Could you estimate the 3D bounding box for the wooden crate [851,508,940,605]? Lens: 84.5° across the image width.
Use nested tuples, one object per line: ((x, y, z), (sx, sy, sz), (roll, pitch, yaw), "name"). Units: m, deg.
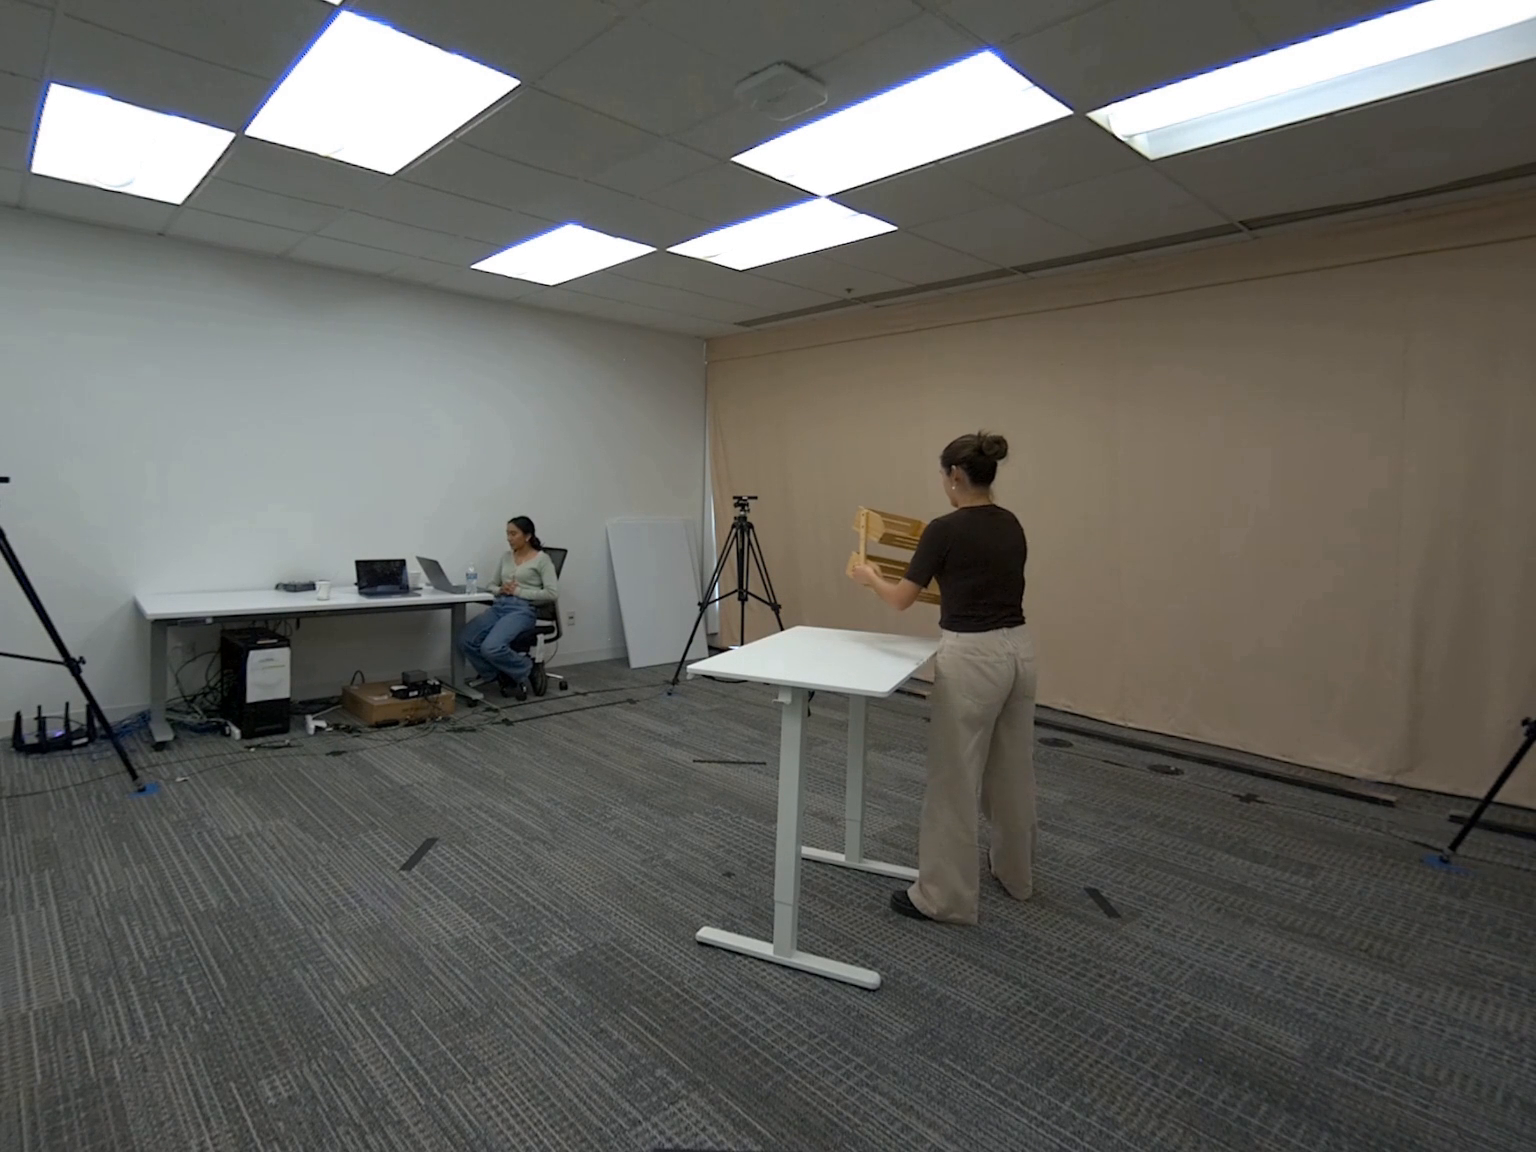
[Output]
((0.503, -0.076, 3.171), (0.317, 0.272, 0.310), (11, 13, -26), "wooden crate")
